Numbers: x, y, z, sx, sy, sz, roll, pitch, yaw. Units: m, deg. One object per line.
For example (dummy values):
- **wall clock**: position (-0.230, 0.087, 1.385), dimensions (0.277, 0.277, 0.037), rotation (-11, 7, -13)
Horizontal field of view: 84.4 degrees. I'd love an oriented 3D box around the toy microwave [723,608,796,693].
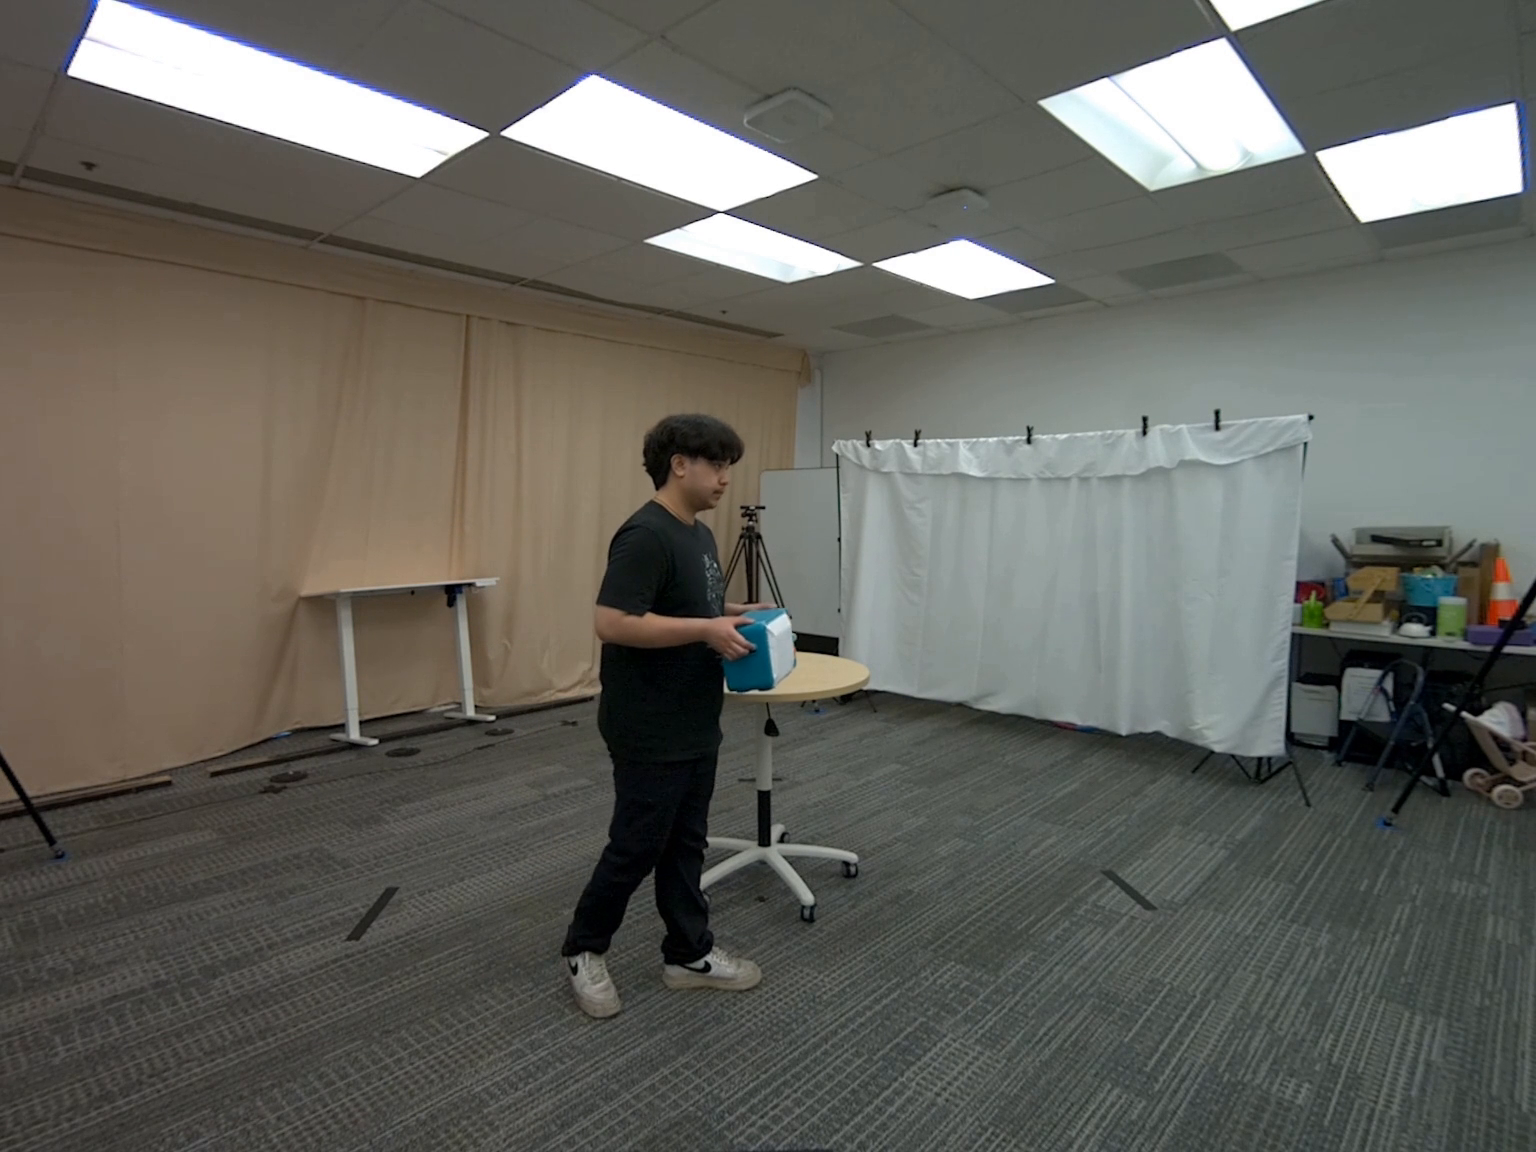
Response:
- **toy microwave**: position (-0.017, 0.196, 2.303), dimensions (0.155, 0.184, 0.282), rotation (-6, 4, 17)
